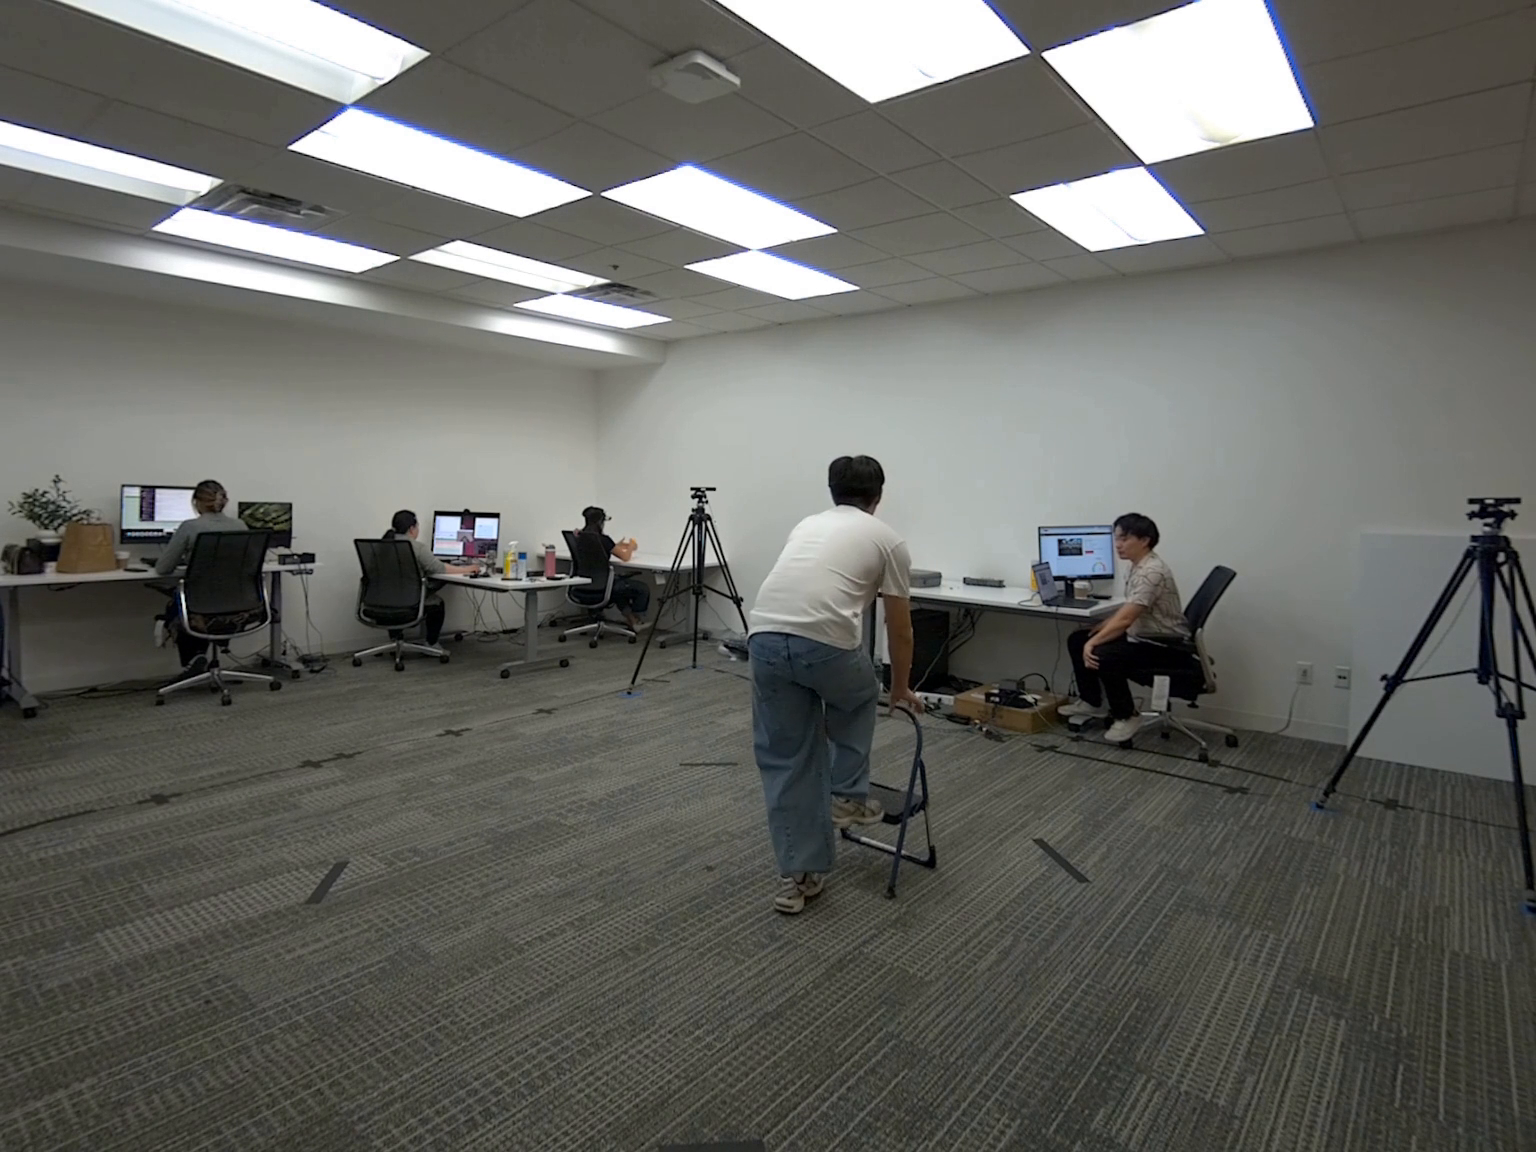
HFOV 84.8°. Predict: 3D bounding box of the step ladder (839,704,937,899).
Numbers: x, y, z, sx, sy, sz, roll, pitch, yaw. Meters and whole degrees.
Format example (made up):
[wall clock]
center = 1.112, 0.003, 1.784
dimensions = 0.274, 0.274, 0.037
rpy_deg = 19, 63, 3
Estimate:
[step ladder]
center = 0.362, 0.767, 3.159
dimensions = 0.445, 0.604, 0.339
rpy_deg = 4, 5, 39
